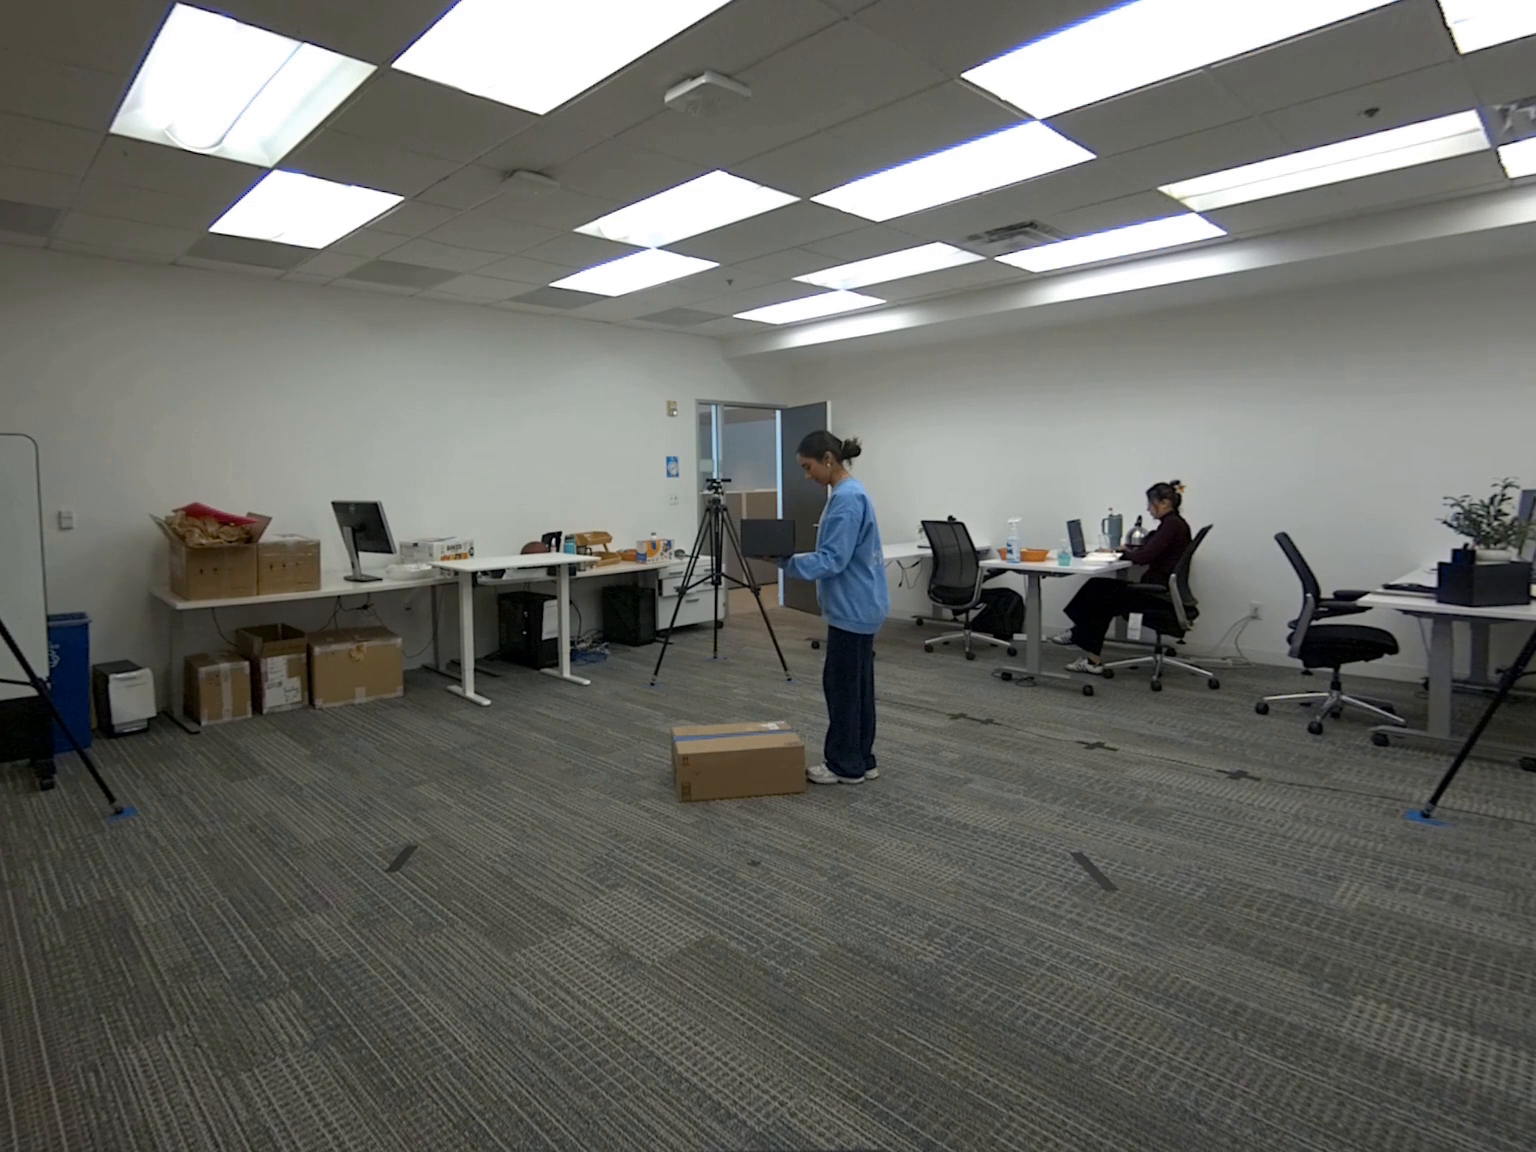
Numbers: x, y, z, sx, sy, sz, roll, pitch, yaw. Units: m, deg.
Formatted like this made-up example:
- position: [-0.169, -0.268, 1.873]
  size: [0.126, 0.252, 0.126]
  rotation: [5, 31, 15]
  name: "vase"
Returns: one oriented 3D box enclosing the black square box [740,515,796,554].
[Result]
- position: [-0.006, -0.177, 3.693]
  size: [0.228, 0.156, 0.217]
  rotation: [1, 0, 0]
  name: "black square box"
